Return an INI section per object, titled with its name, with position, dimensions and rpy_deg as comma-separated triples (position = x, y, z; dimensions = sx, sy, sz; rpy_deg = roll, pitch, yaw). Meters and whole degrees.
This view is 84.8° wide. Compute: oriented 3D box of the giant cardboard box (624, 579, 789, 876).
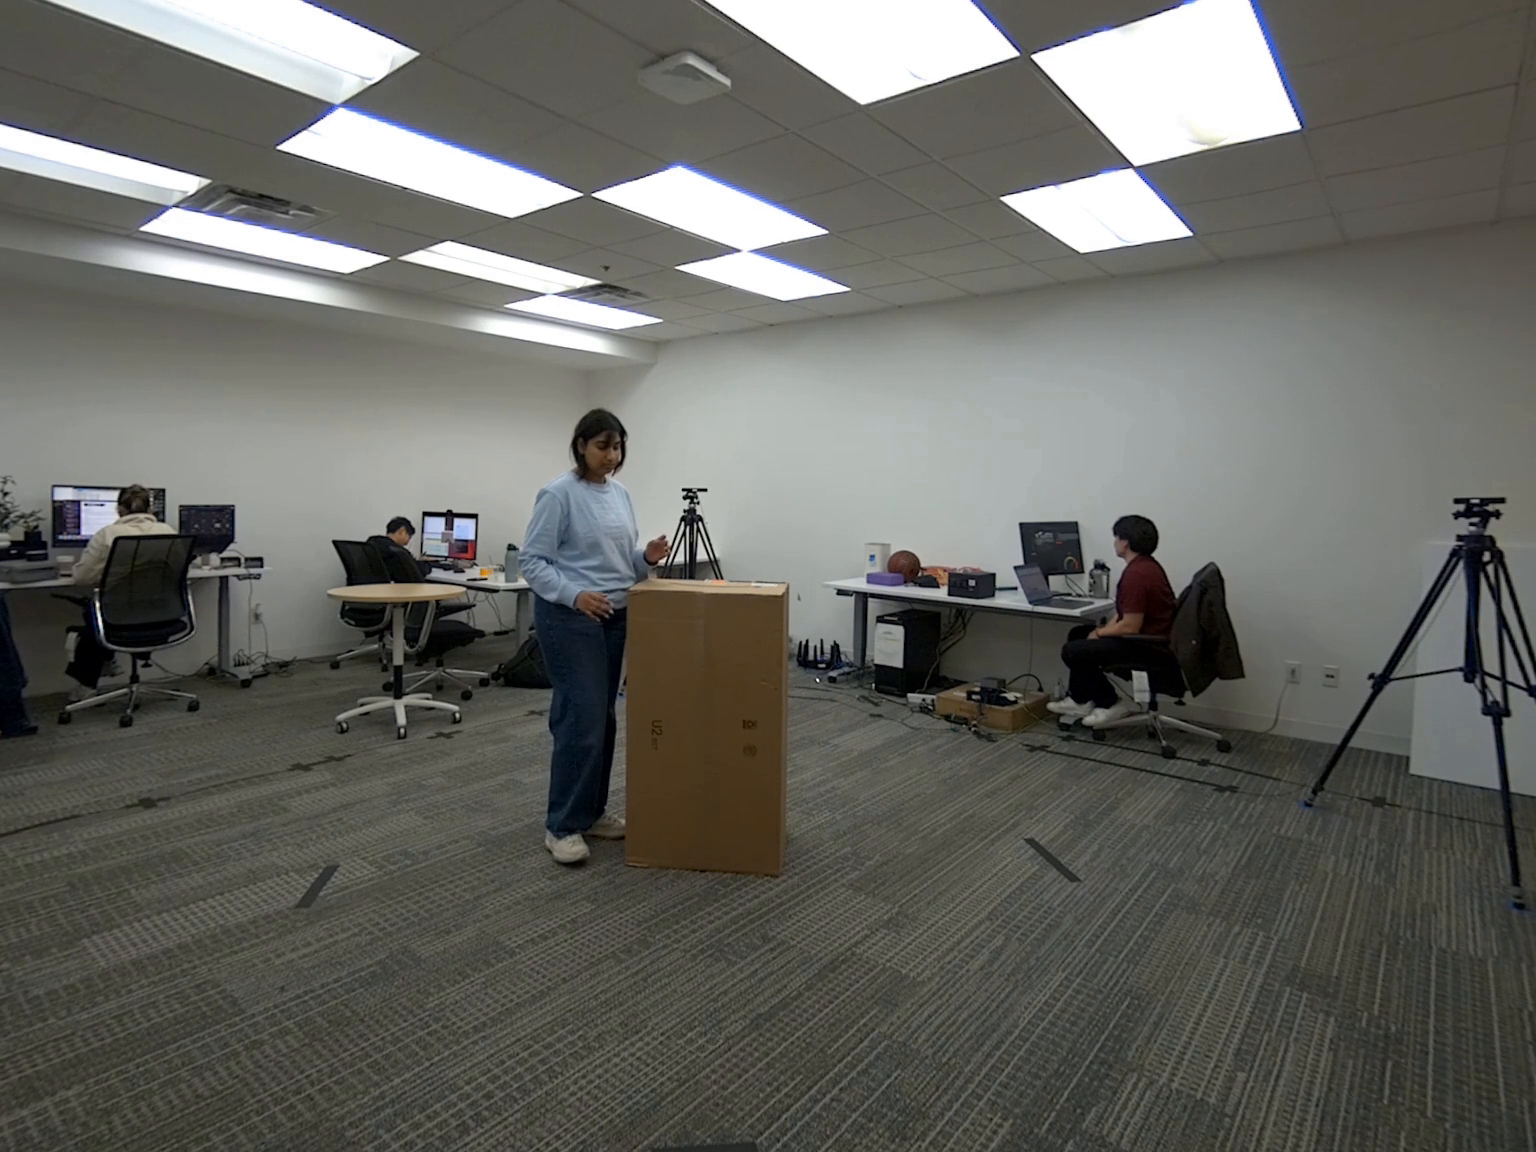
[giant cardboard box]
position = -0.224, 0.547, 3.273
dimensions = 0.581, 1.023, 0.425
rpy_deg = 1, 3, 6
